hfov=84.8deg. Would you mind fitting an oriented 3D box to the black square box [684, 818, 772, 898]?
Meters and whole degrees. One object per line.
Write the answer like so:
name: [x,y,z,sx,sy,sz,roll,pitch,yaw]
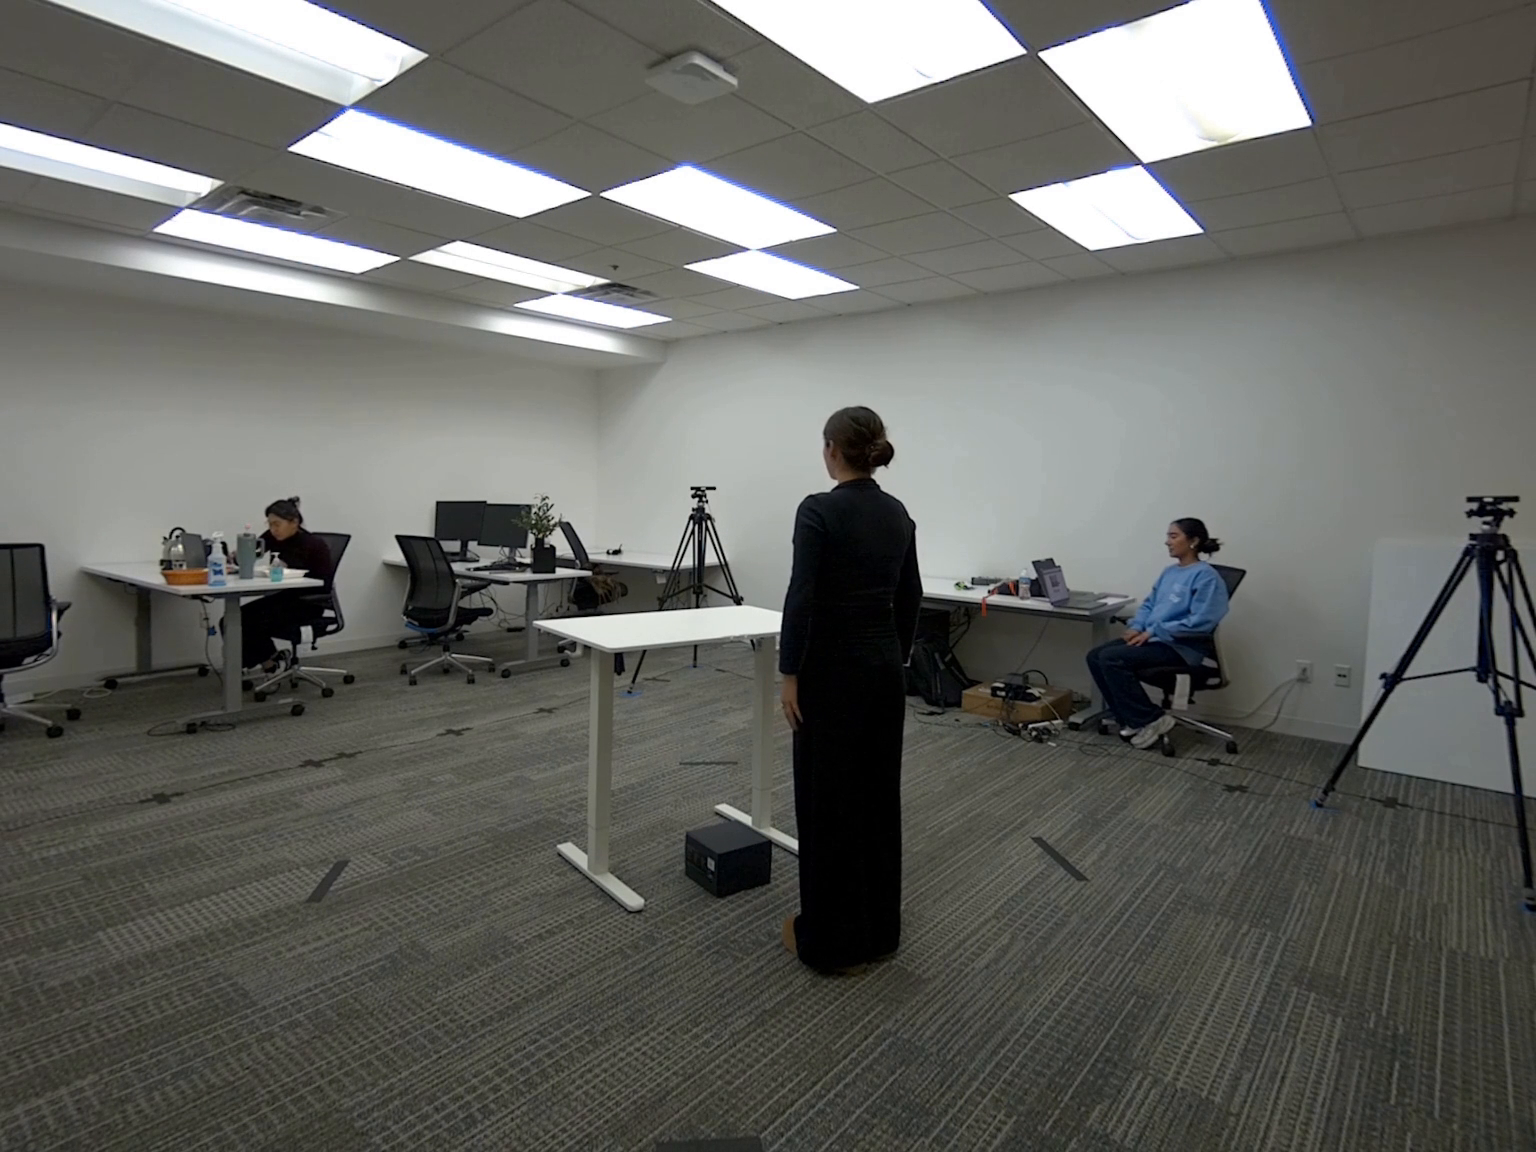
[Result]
black square box: [-0.154,0.991,3.016,0.221,0.155,0.224,-2,6,-36]
